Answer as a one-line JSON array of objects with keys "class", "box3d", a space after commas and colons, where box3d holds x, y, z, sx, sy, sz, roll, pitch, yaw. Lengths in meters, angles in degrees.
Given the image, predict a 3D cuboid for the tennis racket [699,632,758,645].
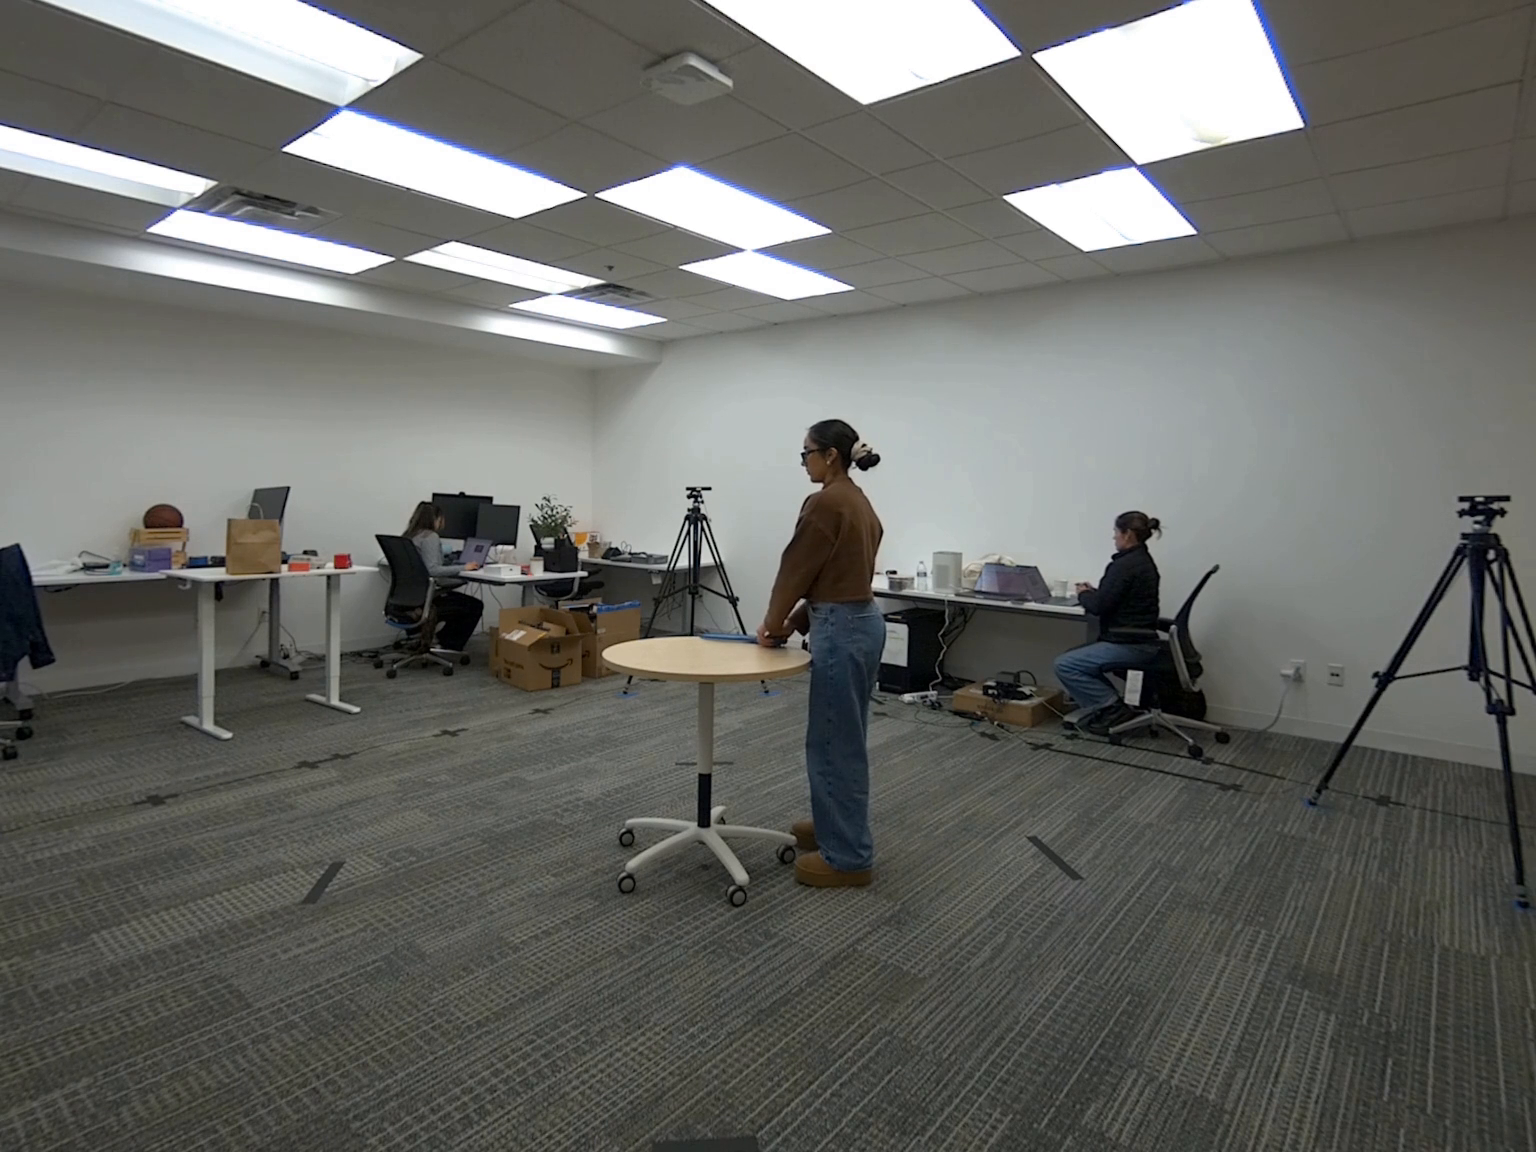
[{"class": "tennis racket", "box3d": [-0.126, 0.247, 3.428, 0.207, 0.032, 0.447, 1, 1, -44]}]
